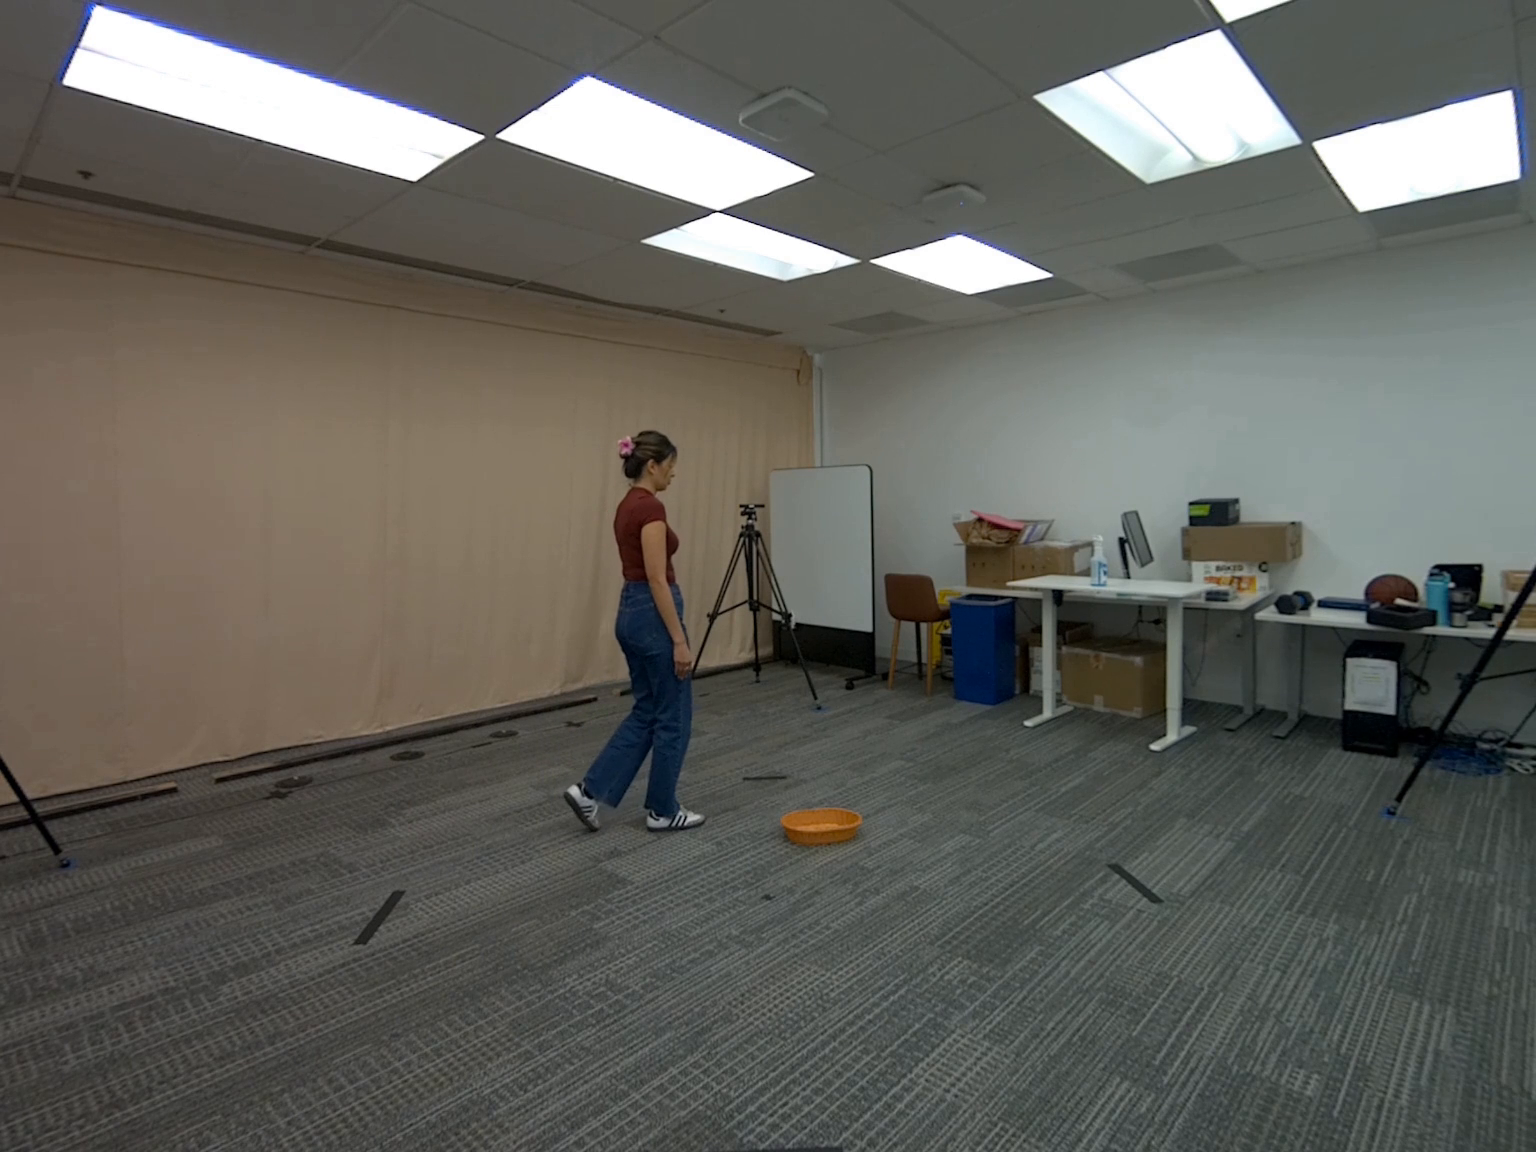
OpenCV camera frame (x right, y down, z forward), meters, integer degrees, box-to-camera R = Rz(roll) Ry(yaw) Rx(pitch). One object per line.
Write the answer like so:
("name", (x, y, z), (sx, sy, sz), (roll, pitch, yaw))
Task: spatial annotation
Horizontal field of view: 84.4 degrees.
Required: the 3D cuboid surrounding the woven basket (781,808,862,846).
("woven basket", (0.221, 1.050, 3.529), (0.345, 0.073, 0.257), (-3, 4, -15))
